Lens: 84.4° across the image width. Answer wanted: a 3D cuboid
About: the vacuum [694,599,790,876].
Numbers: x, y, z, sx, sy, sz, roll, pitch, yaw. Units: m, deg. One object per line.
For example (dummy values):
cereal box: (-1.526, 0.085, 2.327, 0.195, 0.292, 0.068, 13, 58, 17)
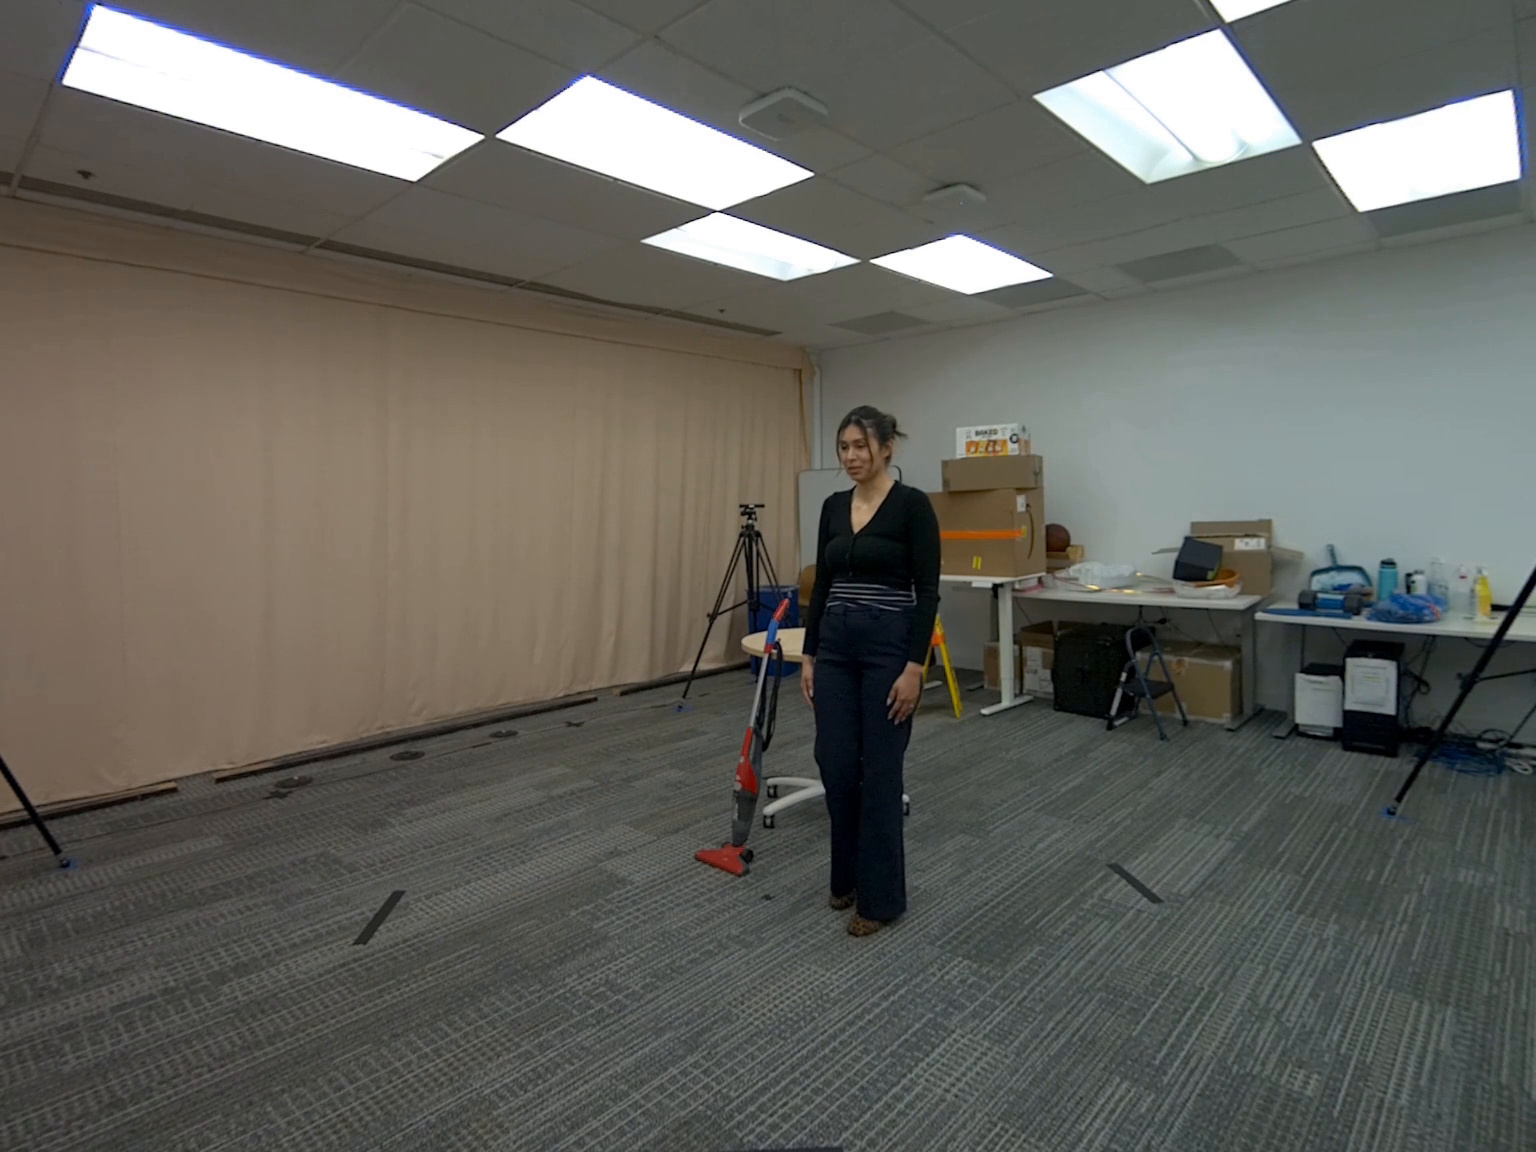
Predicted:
vacuum: (-0.041, 0.616, 3.391, 0.261, 1.054, 0.139, 2, -17, 41)
